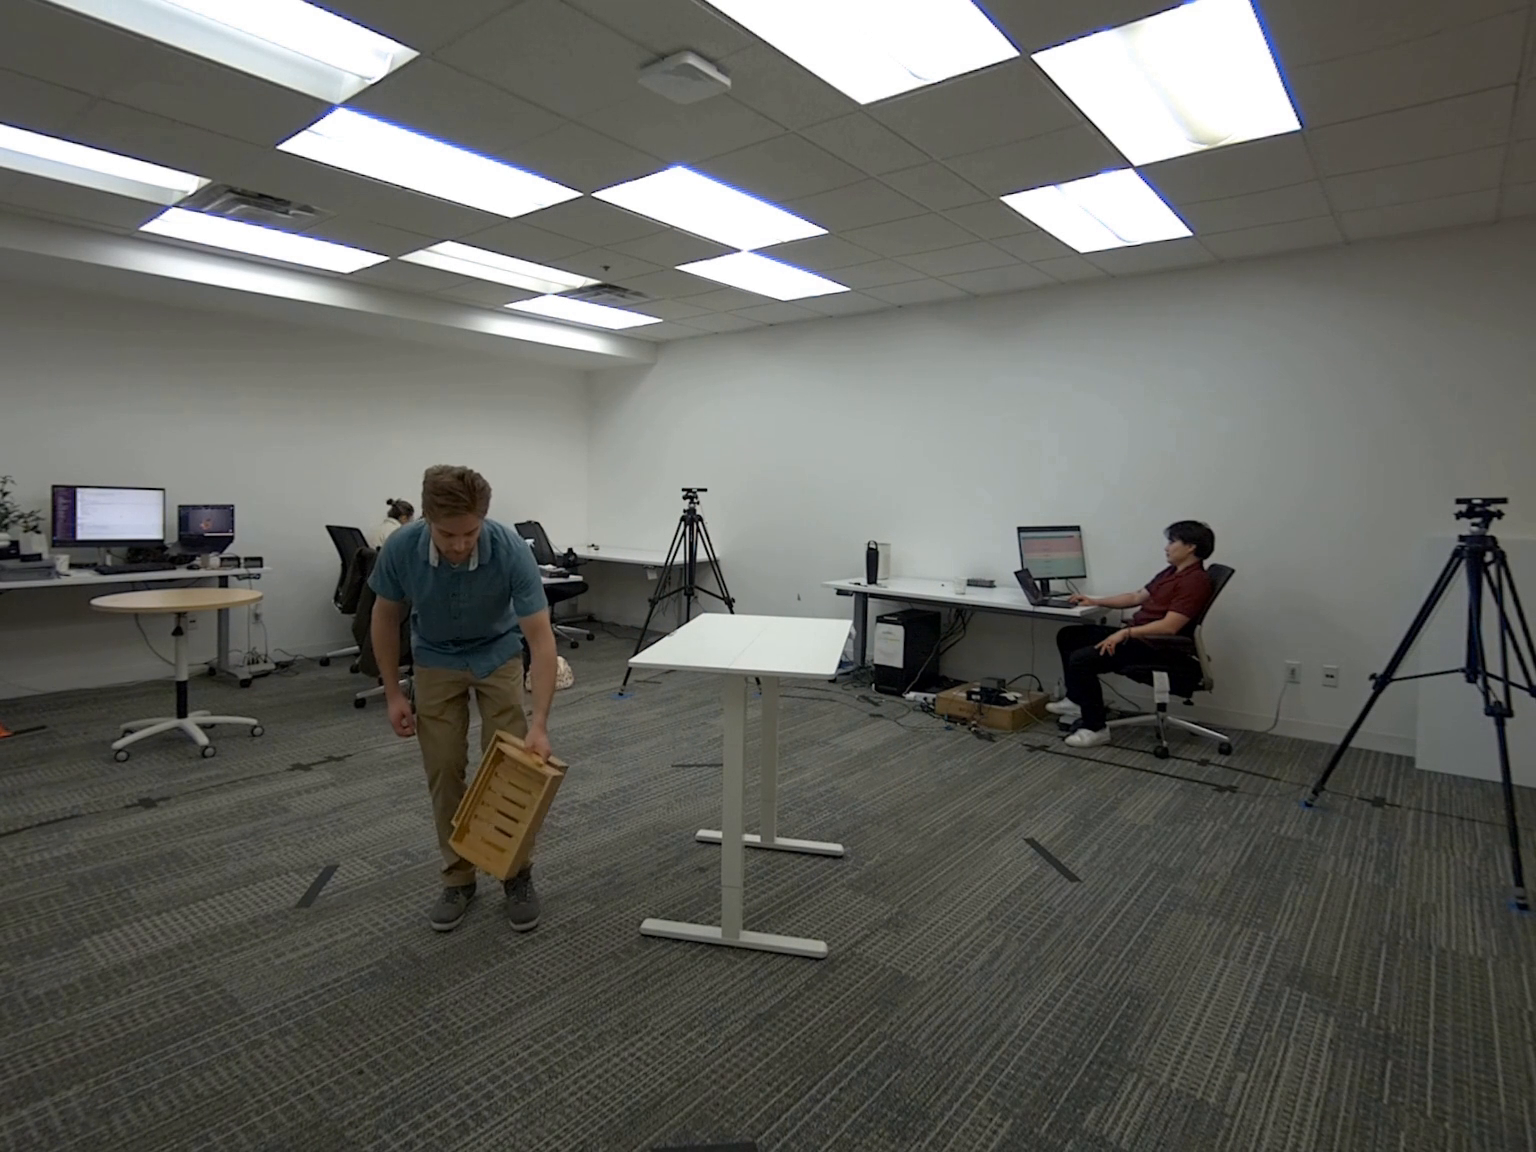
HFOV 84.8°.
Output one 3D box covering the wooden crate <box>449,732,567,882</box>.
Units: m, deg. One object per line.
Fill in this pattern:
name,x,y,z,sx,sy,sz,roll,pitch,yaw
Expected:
wooden crate,-0.780,0.651,2.462,0.308,0.326,0.267,22,-9,12
